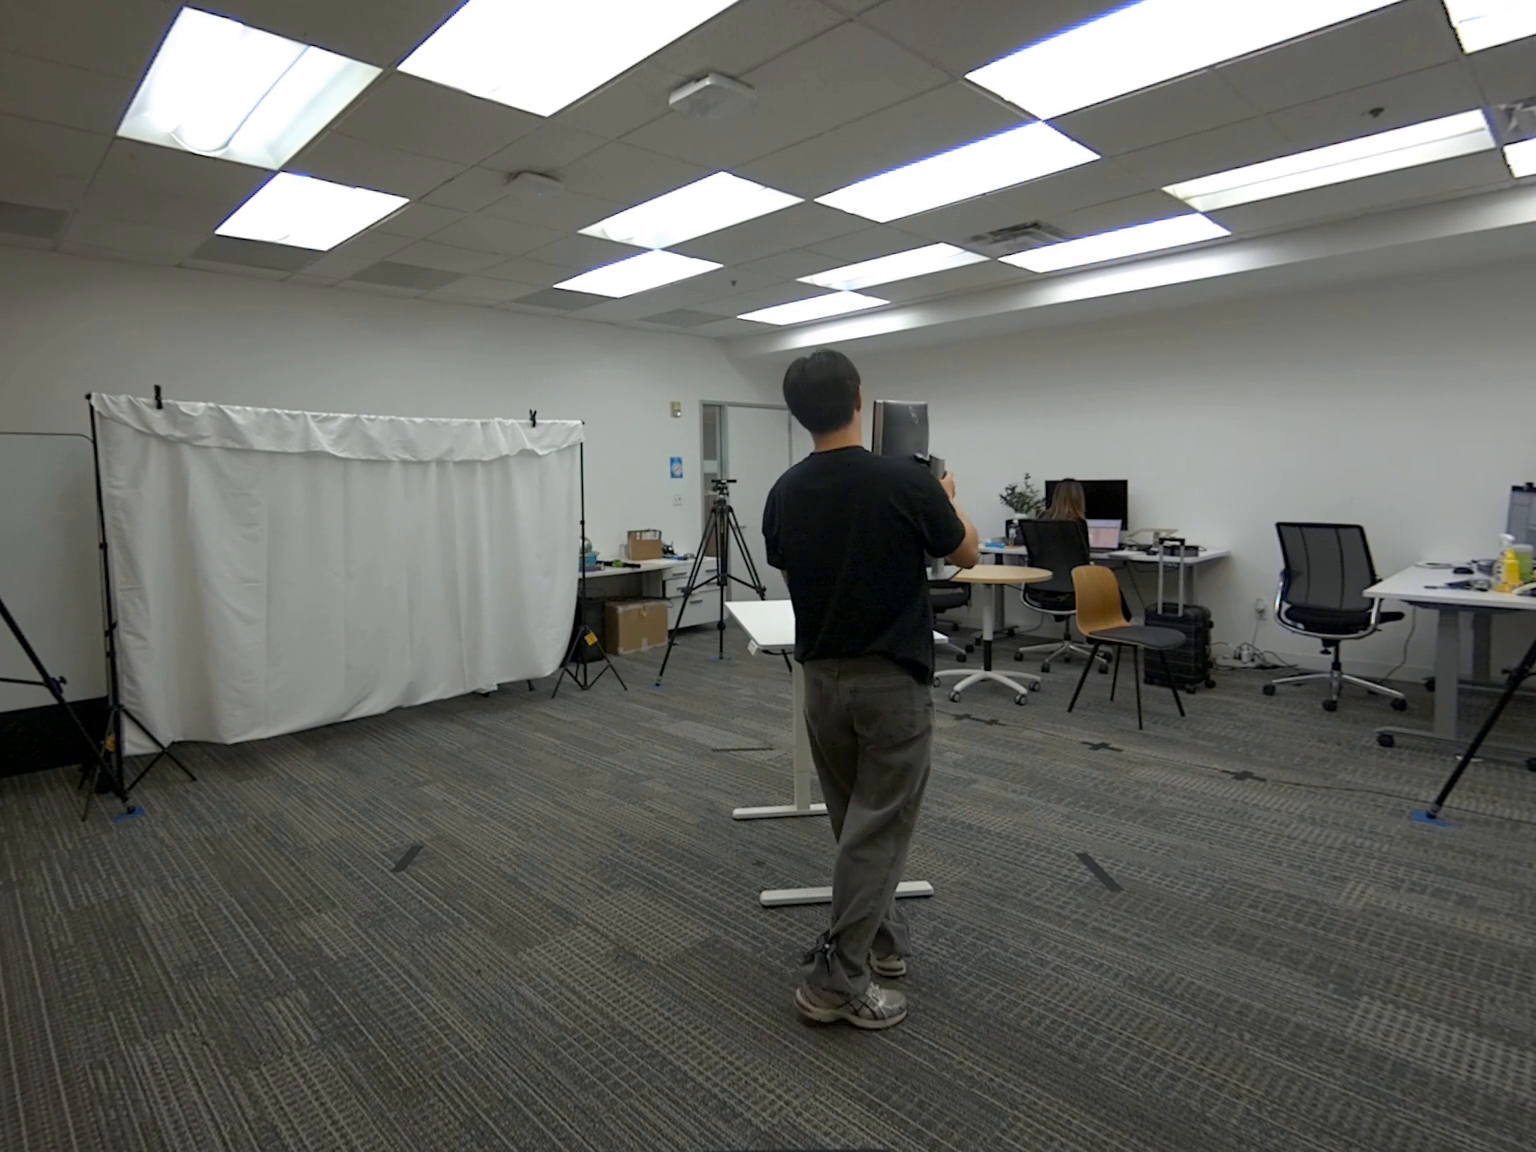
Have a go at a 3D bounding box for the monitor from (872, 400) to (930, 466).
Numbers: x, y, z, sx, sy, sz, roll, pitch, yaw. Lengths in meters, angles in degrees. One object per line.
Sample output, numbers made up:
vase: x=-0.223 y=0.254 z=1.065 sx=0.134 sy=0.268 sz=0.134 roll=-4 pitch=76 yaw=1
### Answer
monitor: x=0.452 y=-0.250 z=2.579 sx=0.226 sy=0.565 sz=0.553 roll=-13 pitch=2 yaw=27
